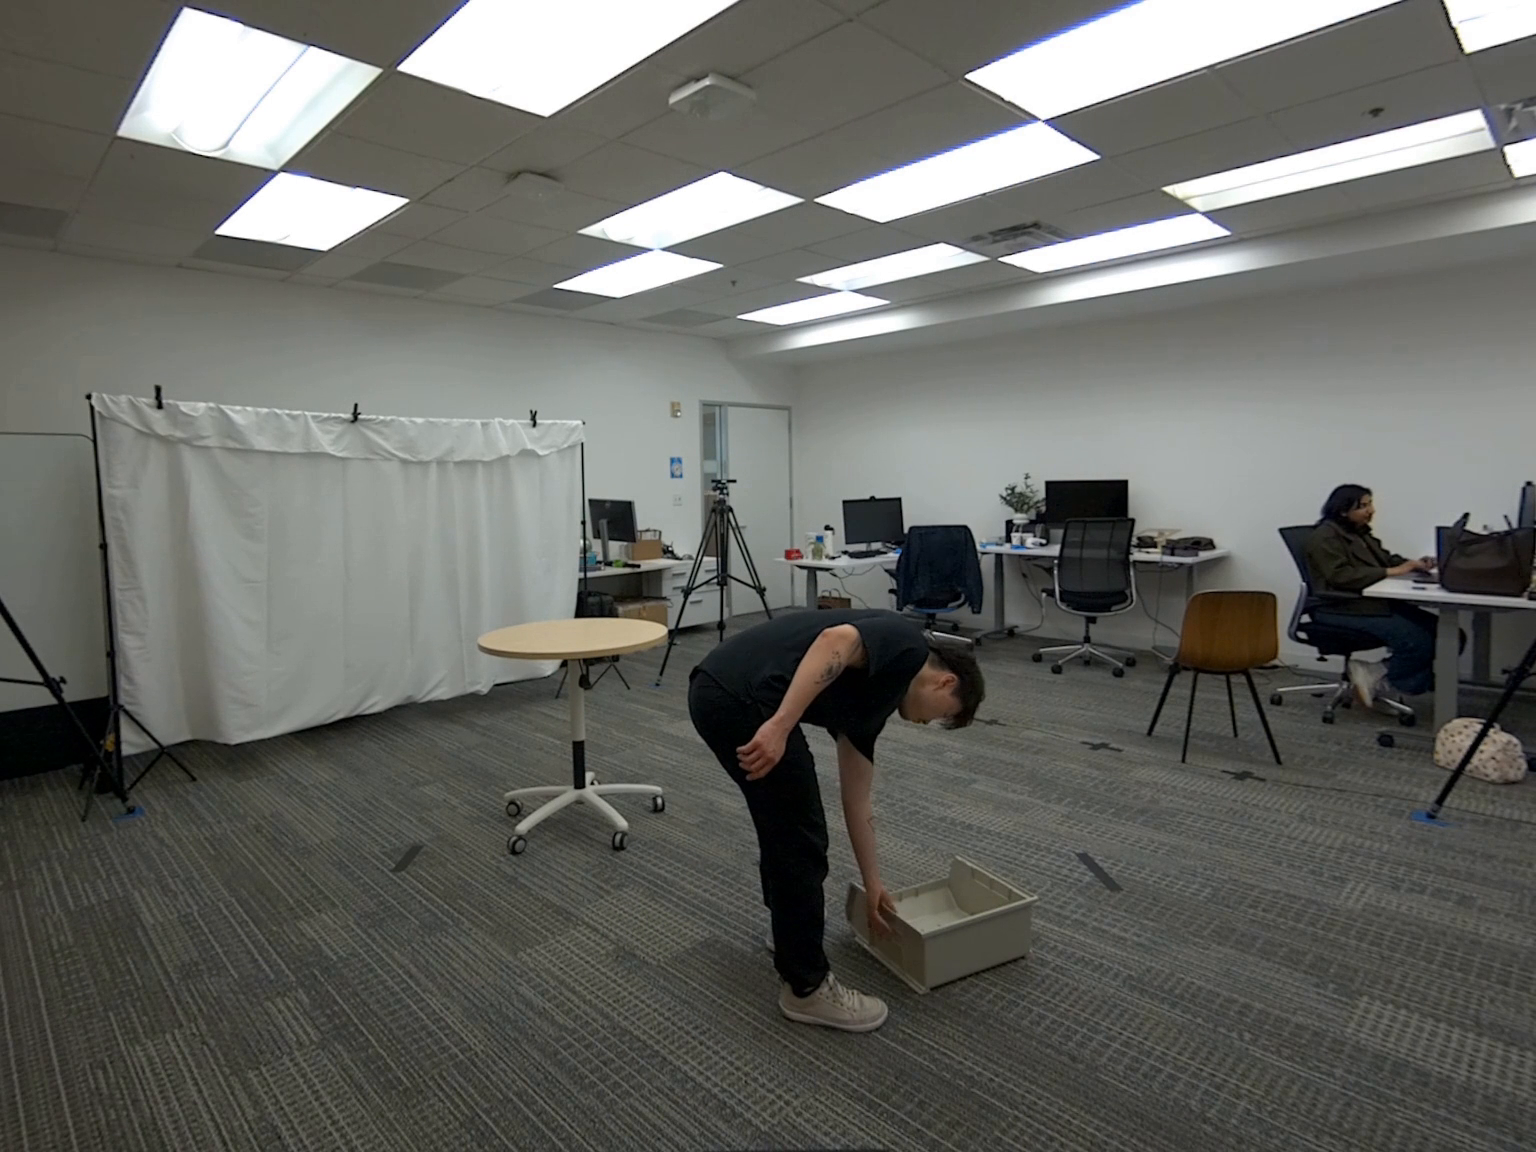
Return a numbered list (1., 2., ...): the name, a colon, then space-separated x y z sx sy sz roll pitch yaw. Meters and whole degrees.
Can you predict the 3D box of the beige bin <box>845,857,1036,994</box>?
1. beige bin: 0.511 1.012 2.541 0.413 0.188 0.387 -3 7 -27
